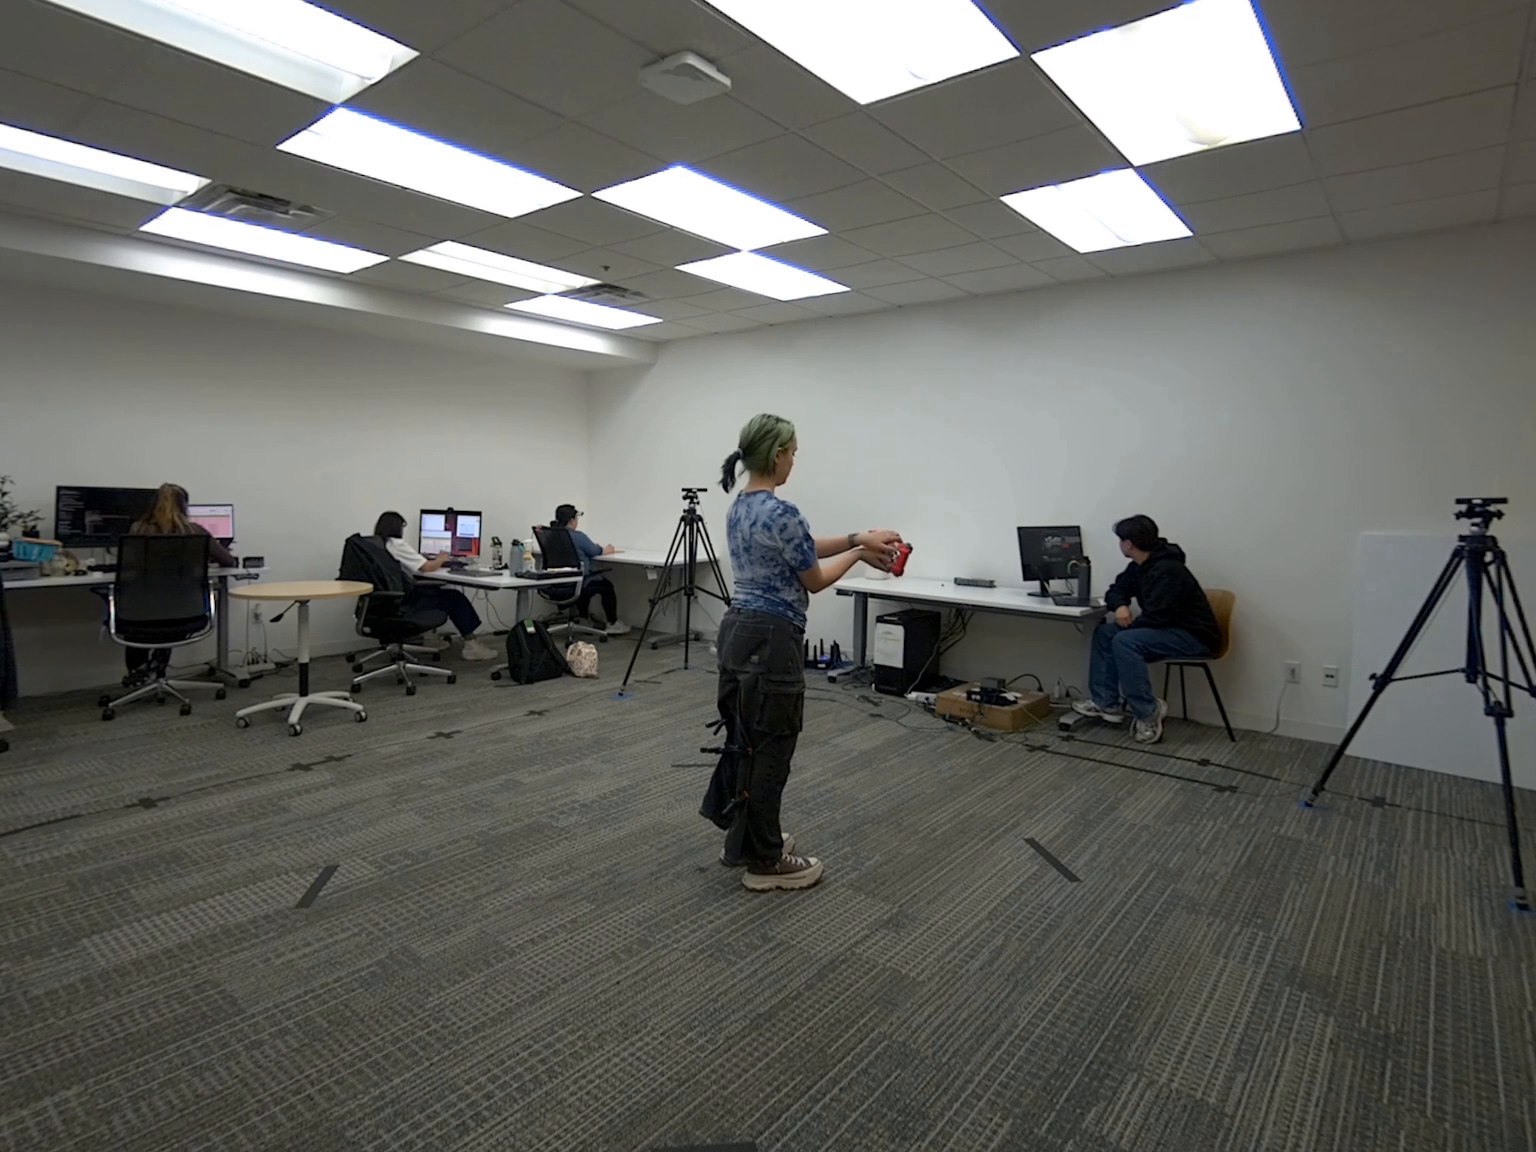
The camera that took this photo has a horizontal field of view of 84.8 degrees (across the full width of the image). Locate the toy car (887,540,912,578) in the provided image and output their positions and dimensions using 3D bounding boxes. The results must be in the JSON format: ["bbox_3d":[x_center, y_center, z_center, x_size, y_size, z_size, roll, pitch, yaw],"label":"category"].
[{"bbox_3d":[0.431,-0.096,3.123,0.080,0.129,0.265,11,15,-36],"label":"toy car"}]
